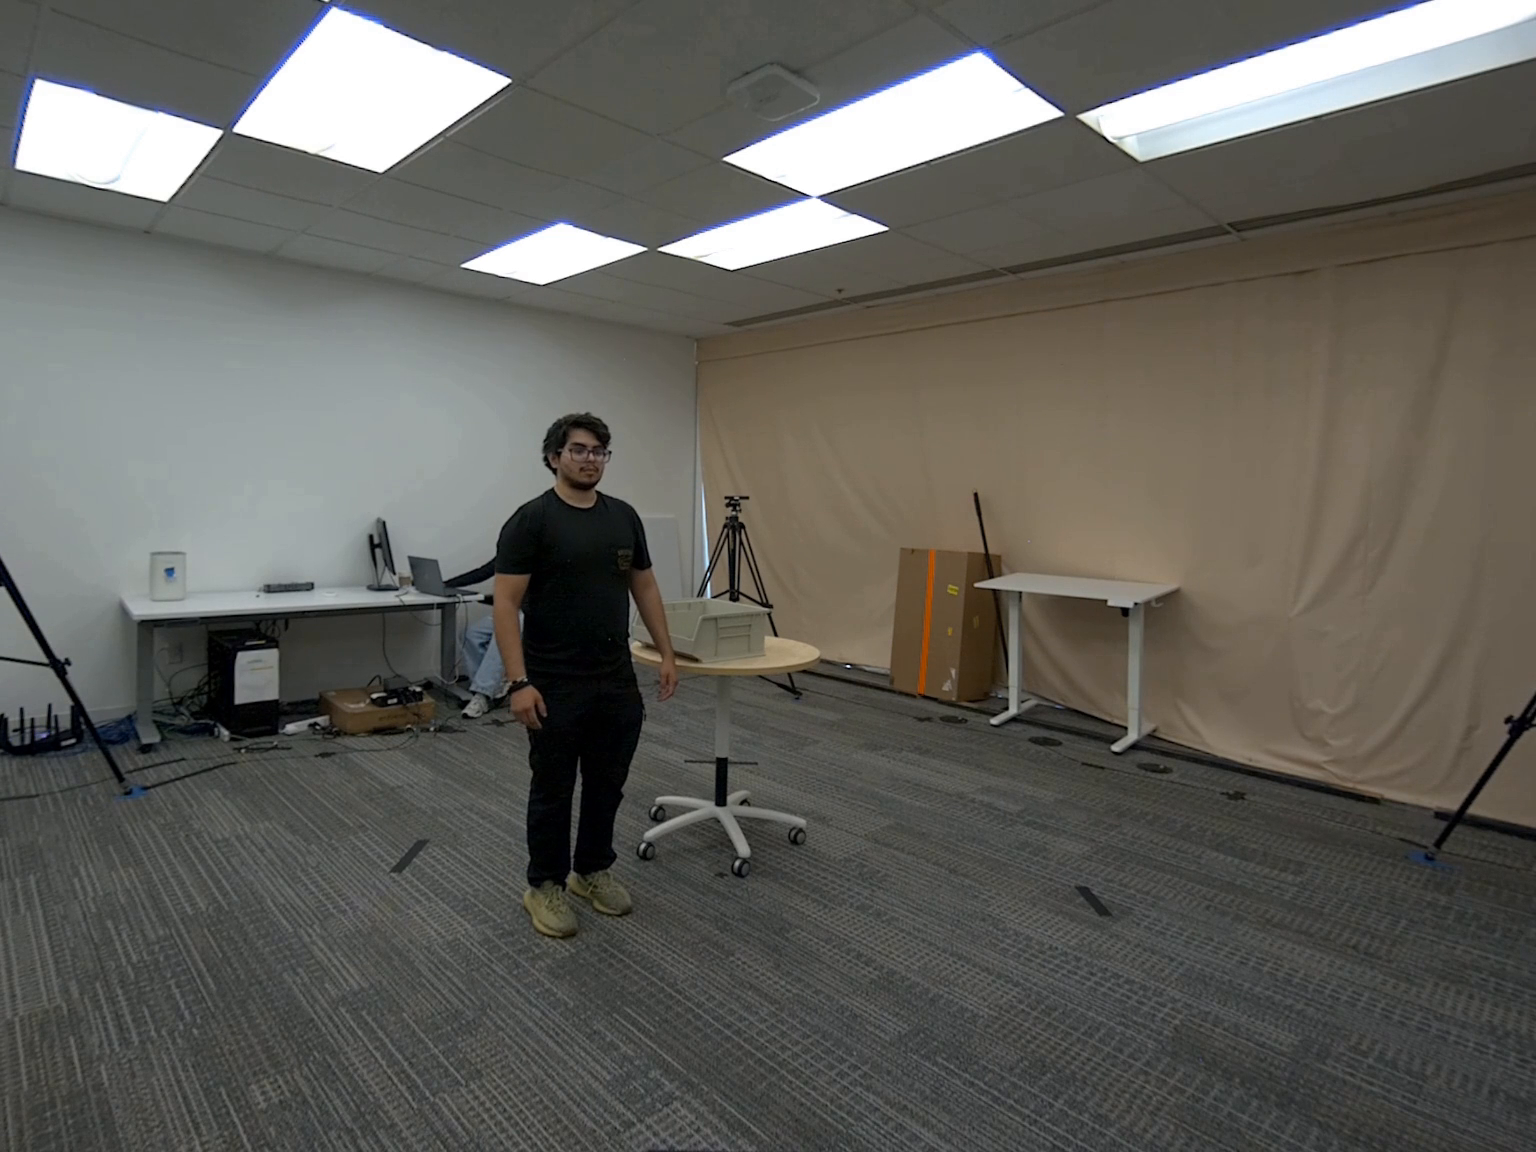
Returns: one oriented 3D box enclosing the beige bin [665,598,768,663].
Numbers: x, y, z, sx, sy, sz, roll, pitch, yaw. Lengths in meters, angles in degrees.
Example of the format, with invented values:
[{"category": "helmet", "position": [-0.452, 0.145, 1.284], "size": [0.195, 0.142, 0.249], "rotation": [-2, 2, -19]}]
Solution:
[{"category": "beige bin", "position": [-0.274, 0.211, 3.321], "size": [0.368, 0.188, 0.433], "rotation": [-1, 5, -41]}]
